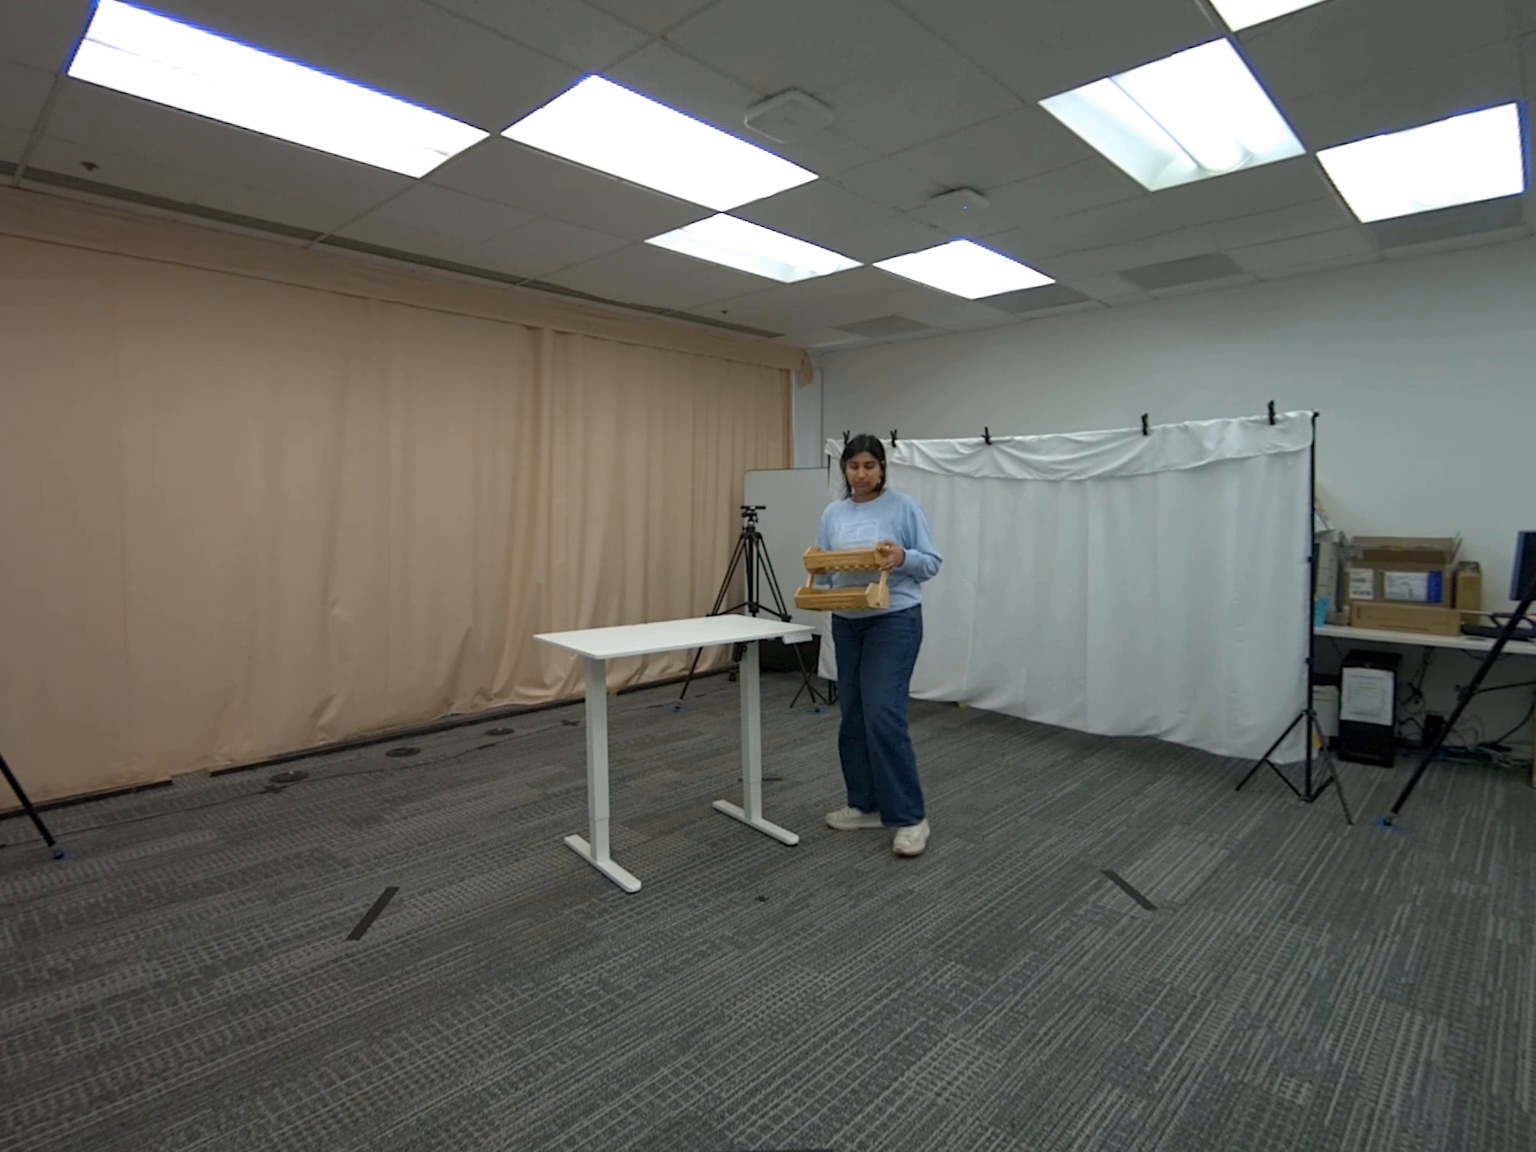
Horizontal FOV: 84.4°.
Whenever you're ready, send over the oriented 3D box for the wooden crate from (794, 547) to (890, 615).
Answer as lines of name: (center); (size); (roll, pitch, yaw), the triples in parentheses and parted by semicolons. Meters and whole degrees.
wooden crate: (0.304, 0.001, 3.357); (0.333, 0.274, 0.292); (-4, -8, 29)
